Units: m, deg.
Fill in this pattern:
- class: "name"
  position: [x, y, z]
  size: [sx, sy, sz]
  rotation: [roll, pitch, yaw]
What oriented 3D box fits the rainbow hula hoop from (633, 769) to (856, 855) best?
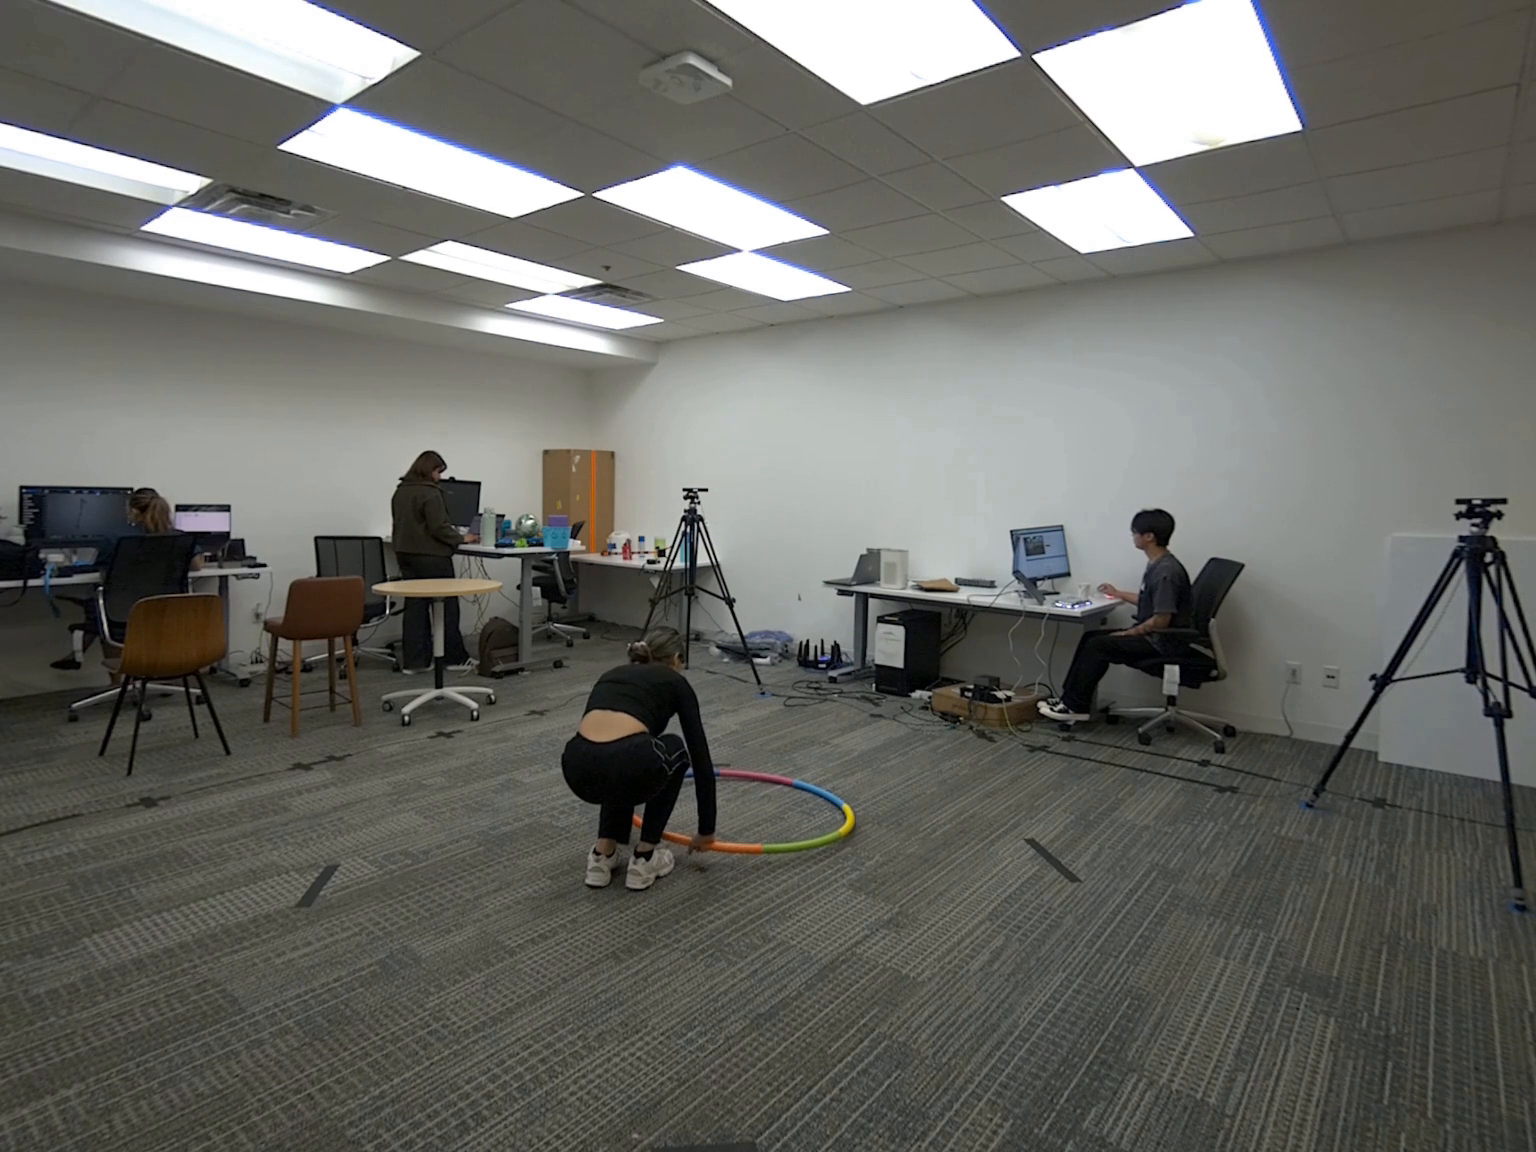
- class: "rainbow hula hoop"
  position: [-0.135, 0.969, 3.615]
  size: [0.978, 0.035, 0.982]
  rotation: [3, 4, -2]
